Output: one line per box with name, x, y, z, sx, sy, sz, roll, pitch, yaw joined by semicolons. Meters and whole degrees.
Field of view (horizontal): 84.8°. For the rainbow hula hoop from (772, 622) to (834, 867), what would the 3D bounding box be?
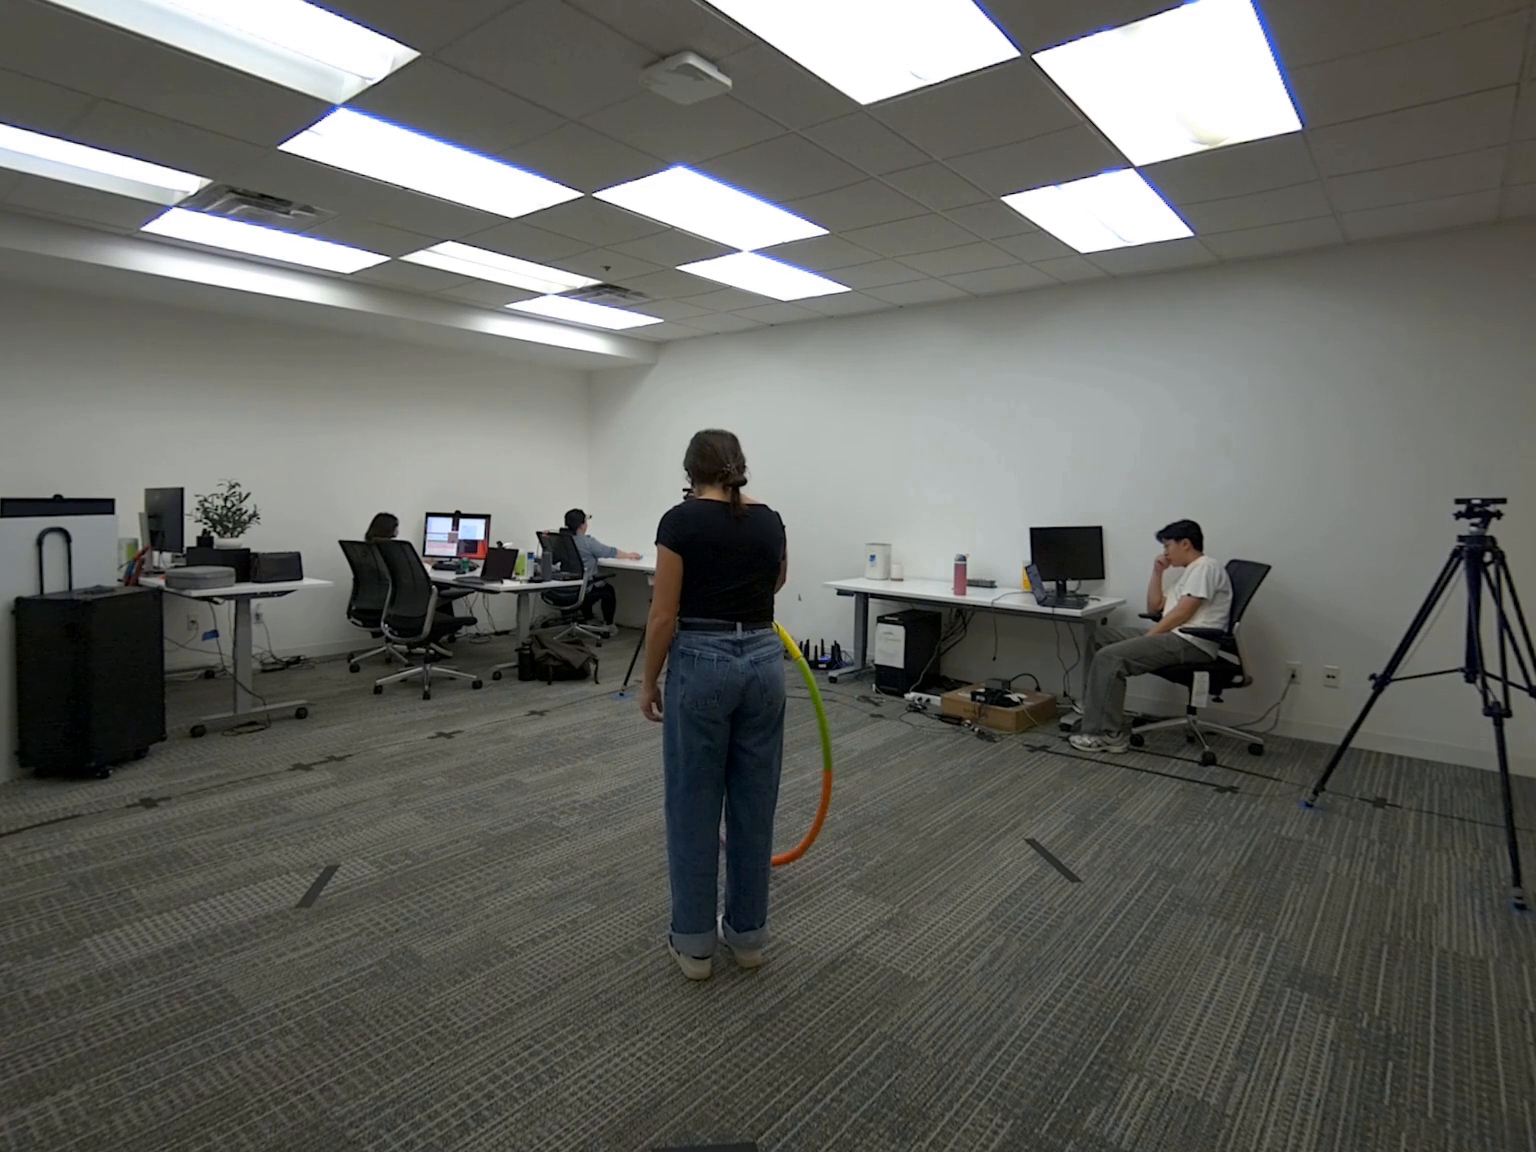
rainbow hula hoop;-0.100;0.569;3.184;0.034;0.974;1.011;-4;6;-37
